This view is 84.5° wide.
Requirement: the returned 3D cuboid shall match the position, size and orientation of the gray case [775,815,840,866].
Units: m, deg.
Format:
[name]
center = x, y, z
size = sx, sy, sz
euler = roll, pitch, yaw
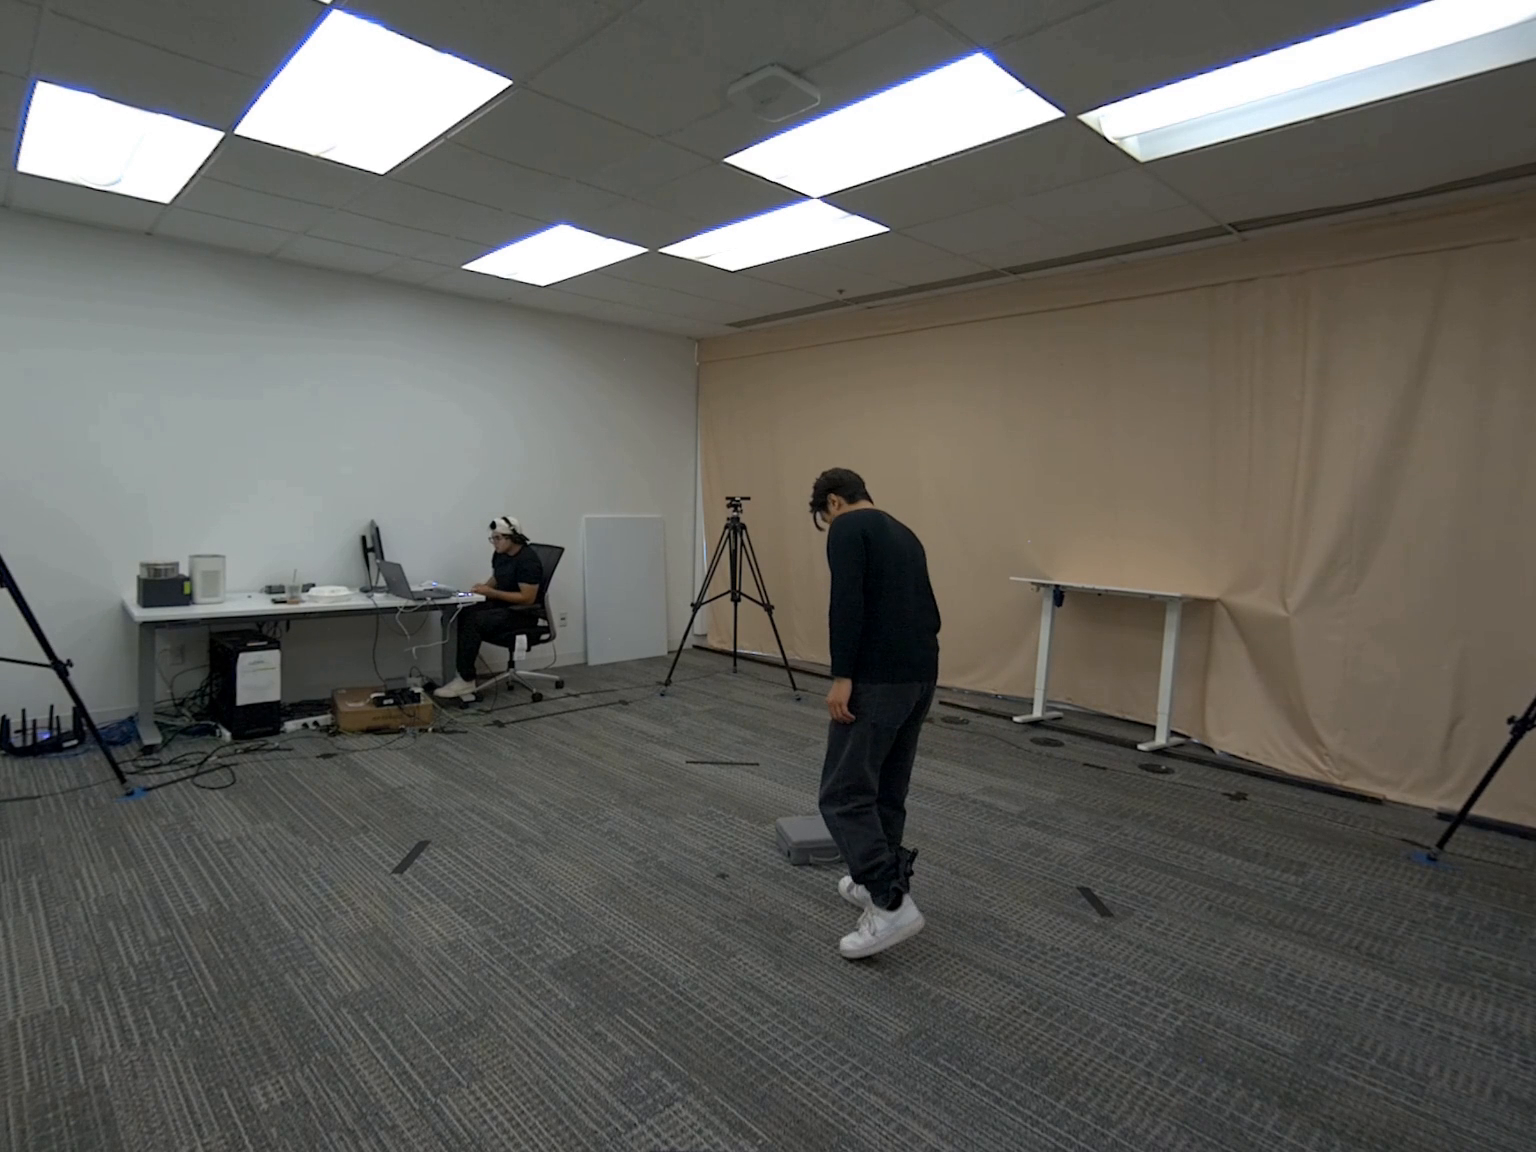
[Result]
[gray case]
center = 0.173, 1.034, 3.329
size = 0.254, 0.104, 0.264
euler = 1, 6, -14
